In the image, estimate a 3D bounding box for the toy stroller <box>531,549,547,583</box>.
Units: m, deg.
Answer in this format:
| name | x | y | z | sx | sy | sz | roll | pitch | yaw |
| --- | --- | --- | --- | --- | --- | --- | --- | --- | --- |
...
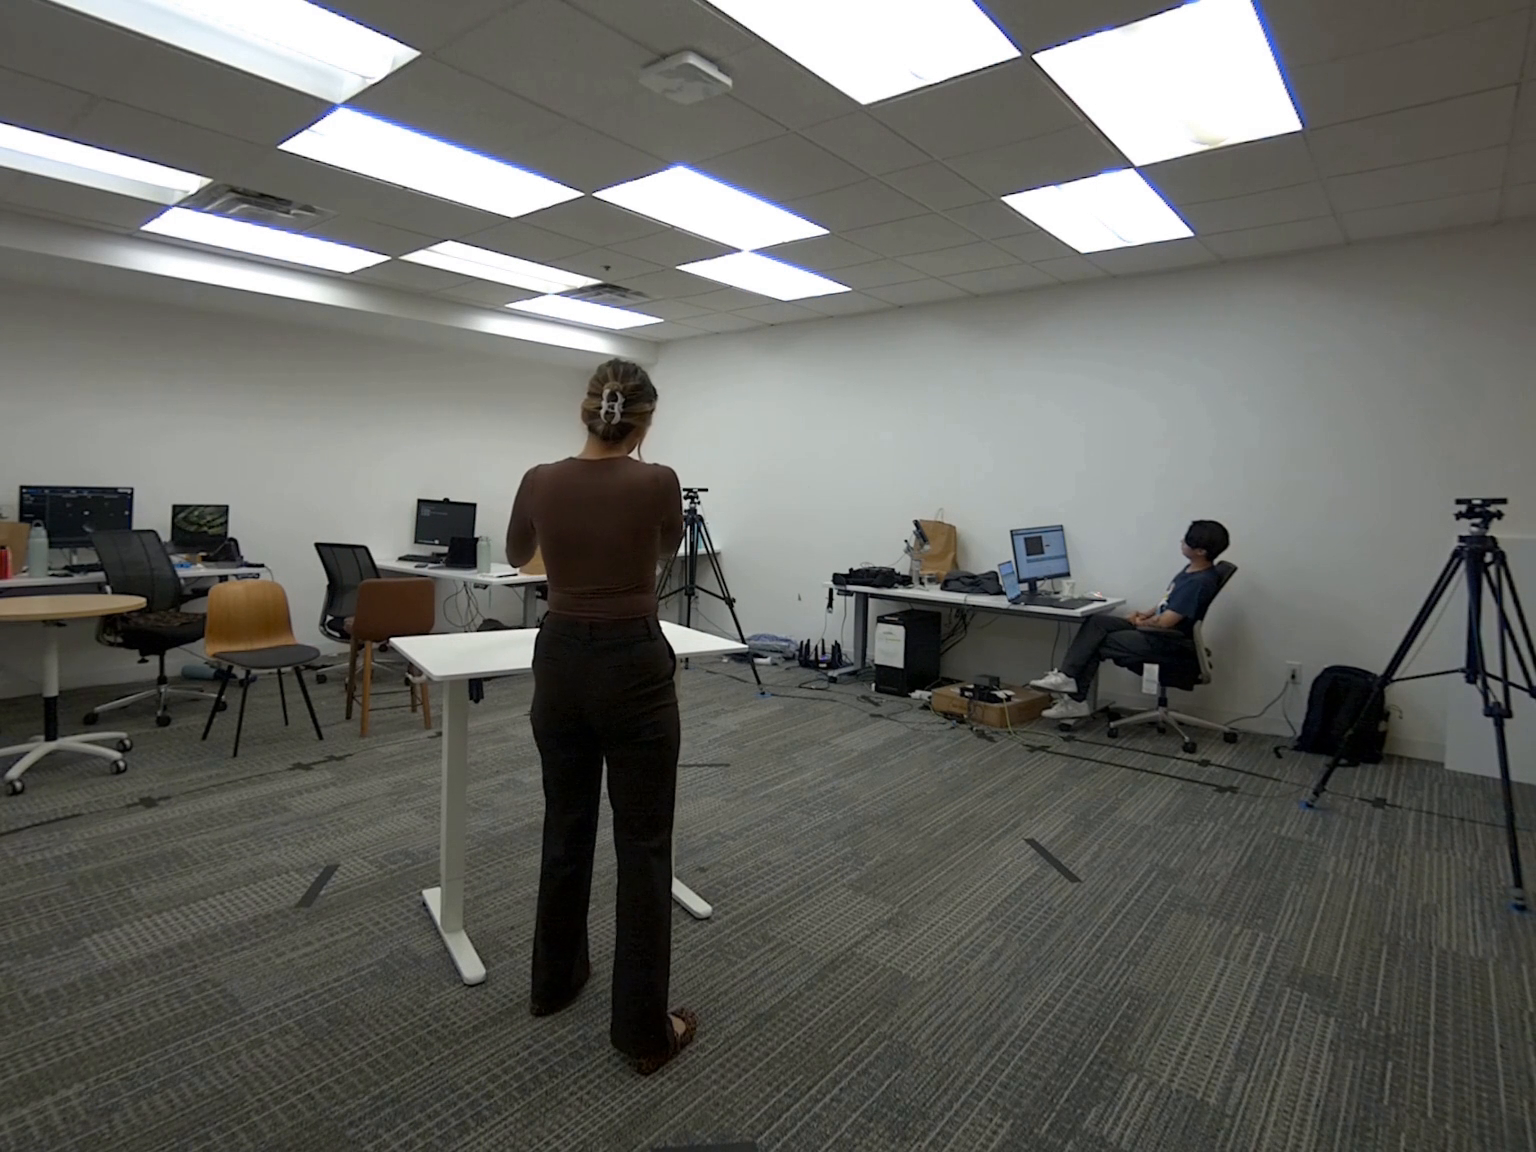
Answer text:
| name | x | y | z | sx | sy | sz | roll | pitch | yaw |
| --- | --- | --- | --- | --- | --- | --- | --- | --- | --- |
| toy stroller | -0.560 | -0.013 | 2.846 | 0.284 | 0.525 | 0.345 | 3 | 21 | 6 |
